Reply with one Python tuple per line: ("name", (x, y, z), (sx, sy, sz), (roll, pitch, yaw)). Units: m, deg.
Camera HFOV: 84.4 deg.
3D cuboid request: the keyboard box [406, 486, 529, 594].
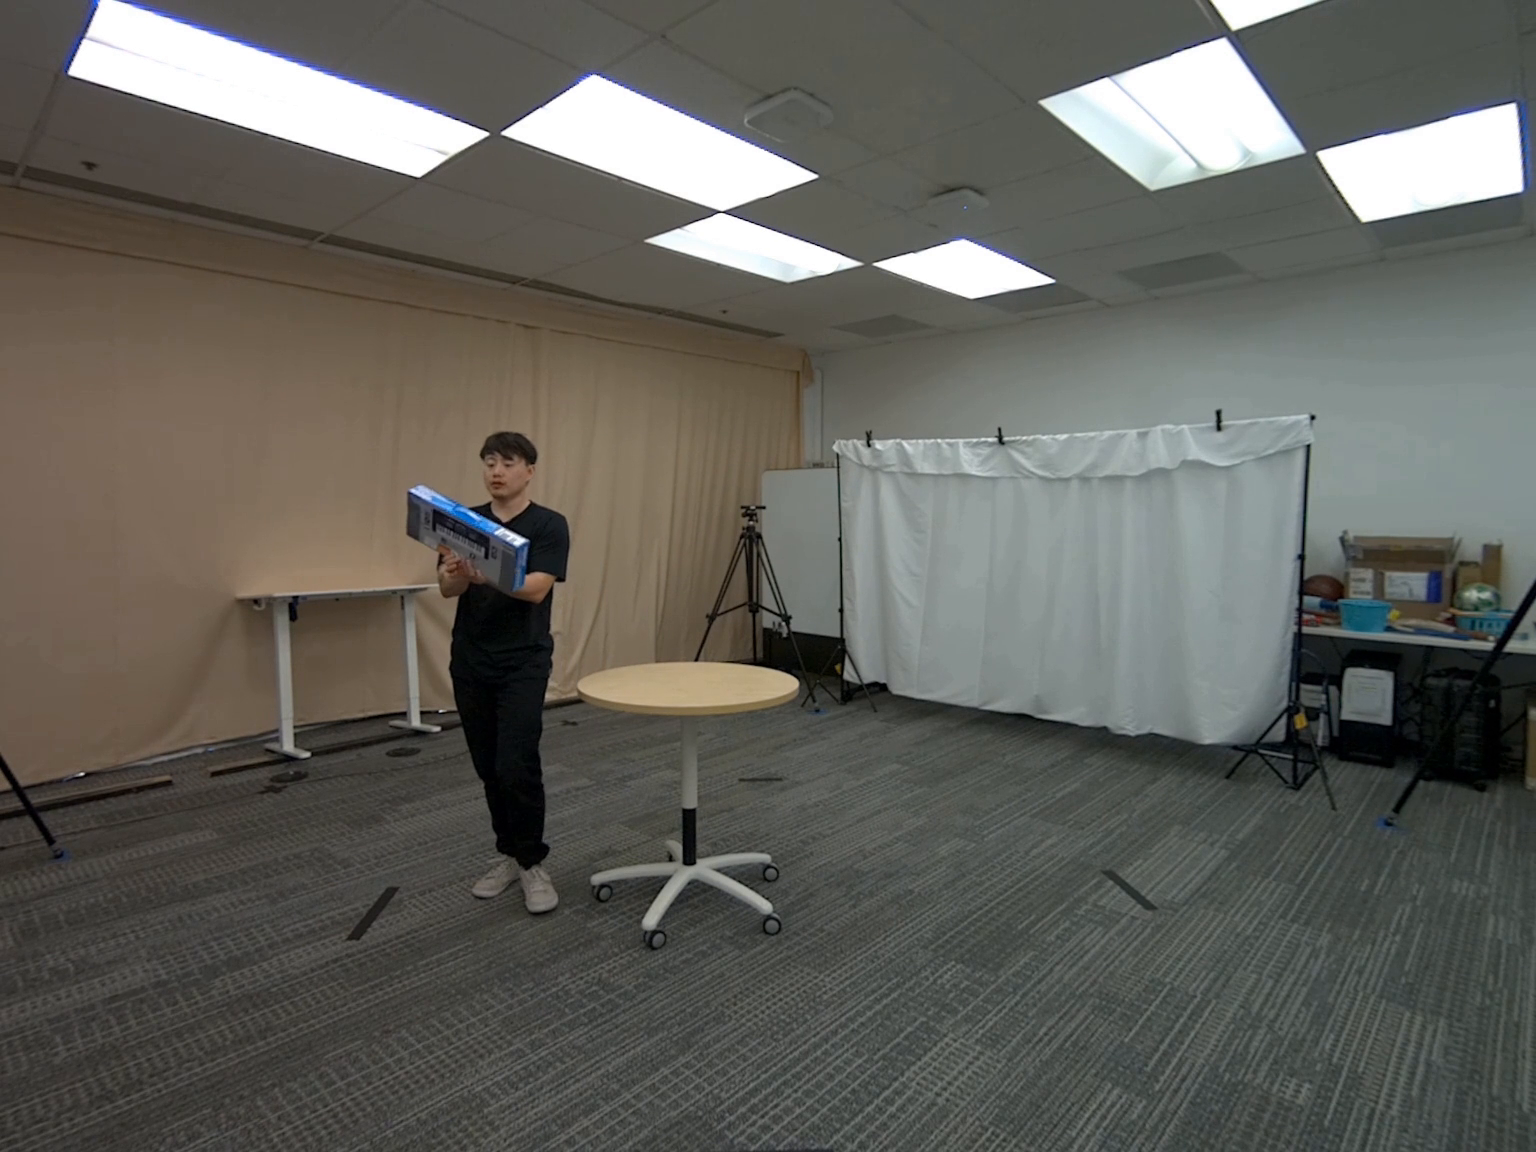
("keyboard box", (-0.948, -0.119, 2.641), (0.445, 0.174, 0.058), (26, 32, 16))
